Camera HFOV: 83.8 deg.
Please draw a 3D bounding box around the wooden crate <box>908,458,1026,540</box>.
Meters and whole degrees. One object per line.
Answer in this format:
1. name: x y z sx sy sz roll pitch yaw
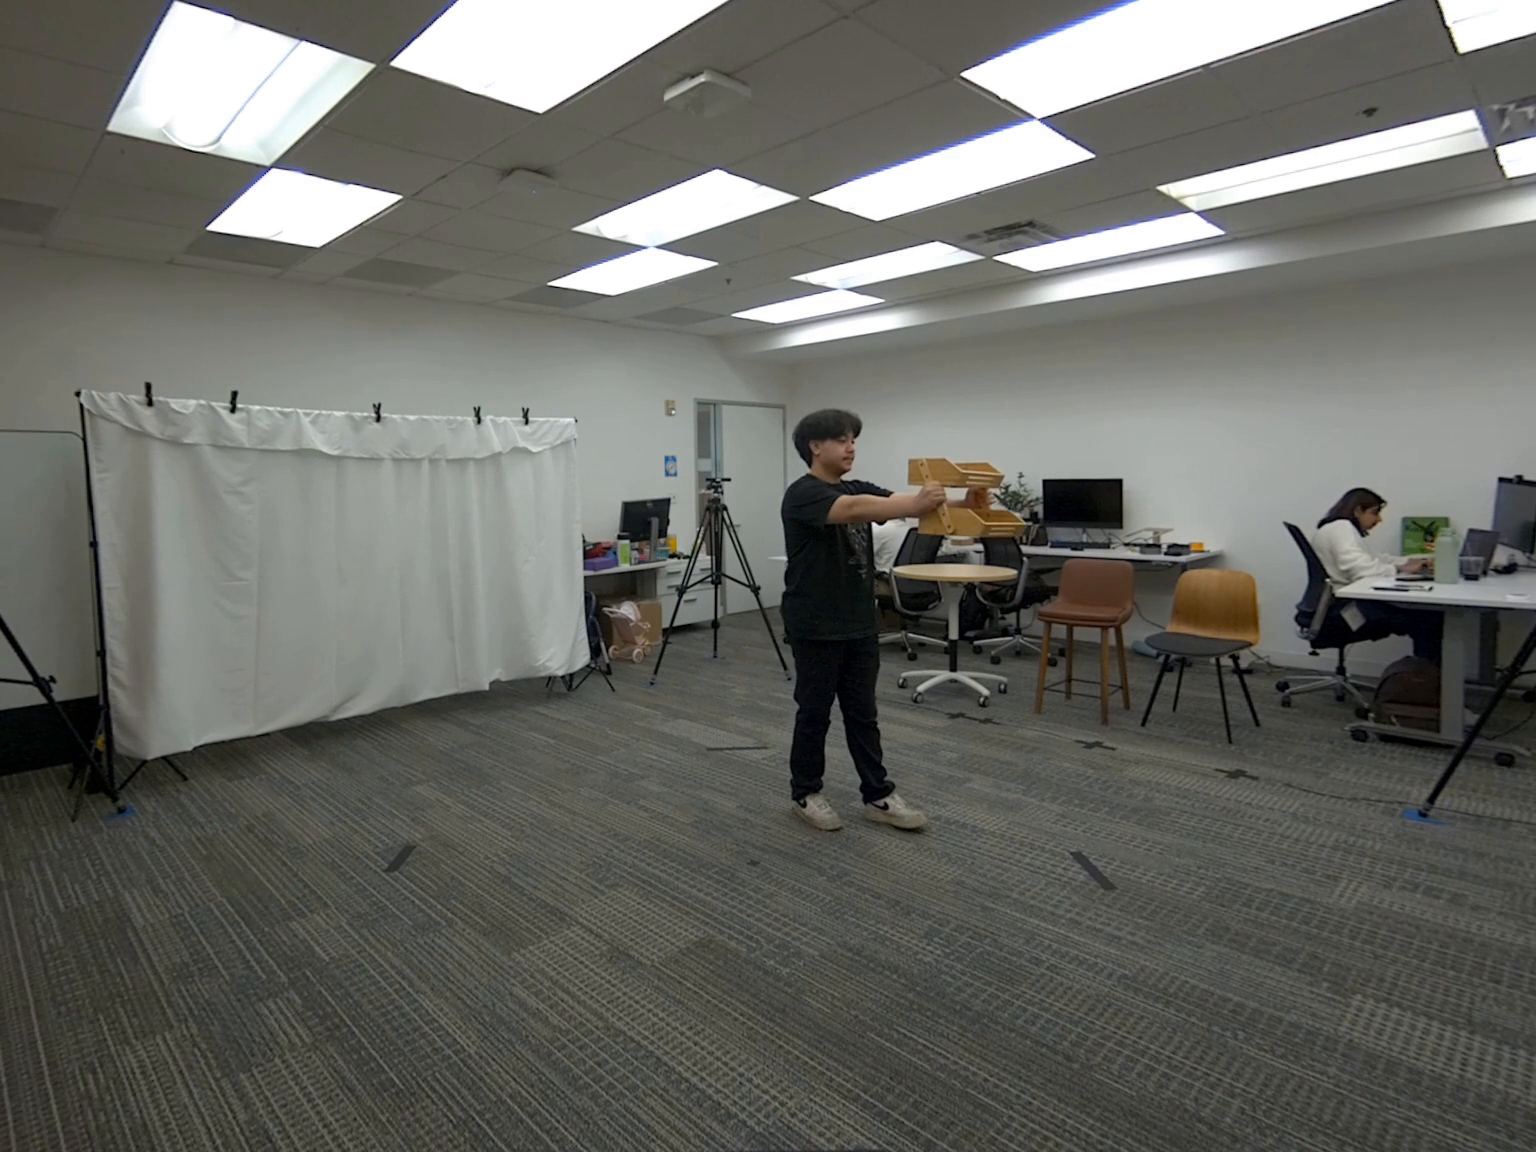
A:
1. wooden crate: 0.712 -0.282 2.995 0.311 0.273 0.315 5 5 42
